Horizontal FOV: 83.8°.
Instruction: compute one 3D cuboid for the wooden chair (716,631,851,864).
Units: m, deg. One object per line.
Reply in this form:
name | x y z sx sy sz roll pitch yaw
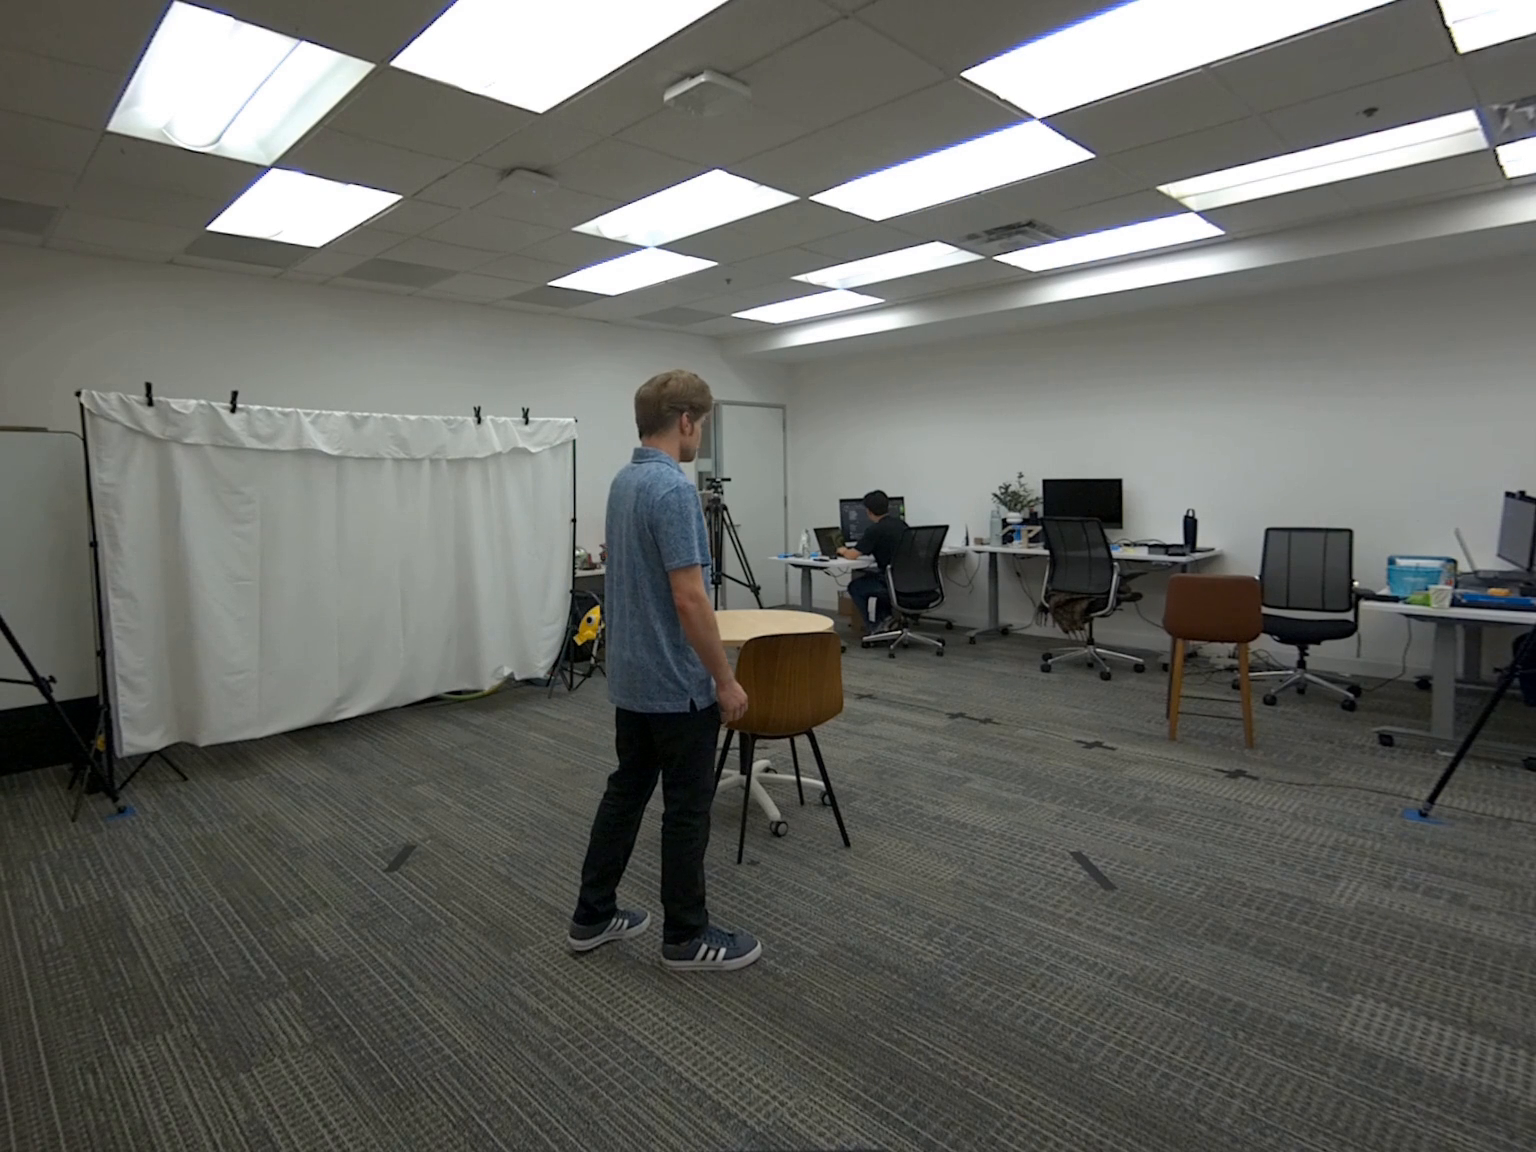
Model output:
wooden chair | 0.018 0.587 3.343 0.470 0.871 0.536 -3 9 -20
